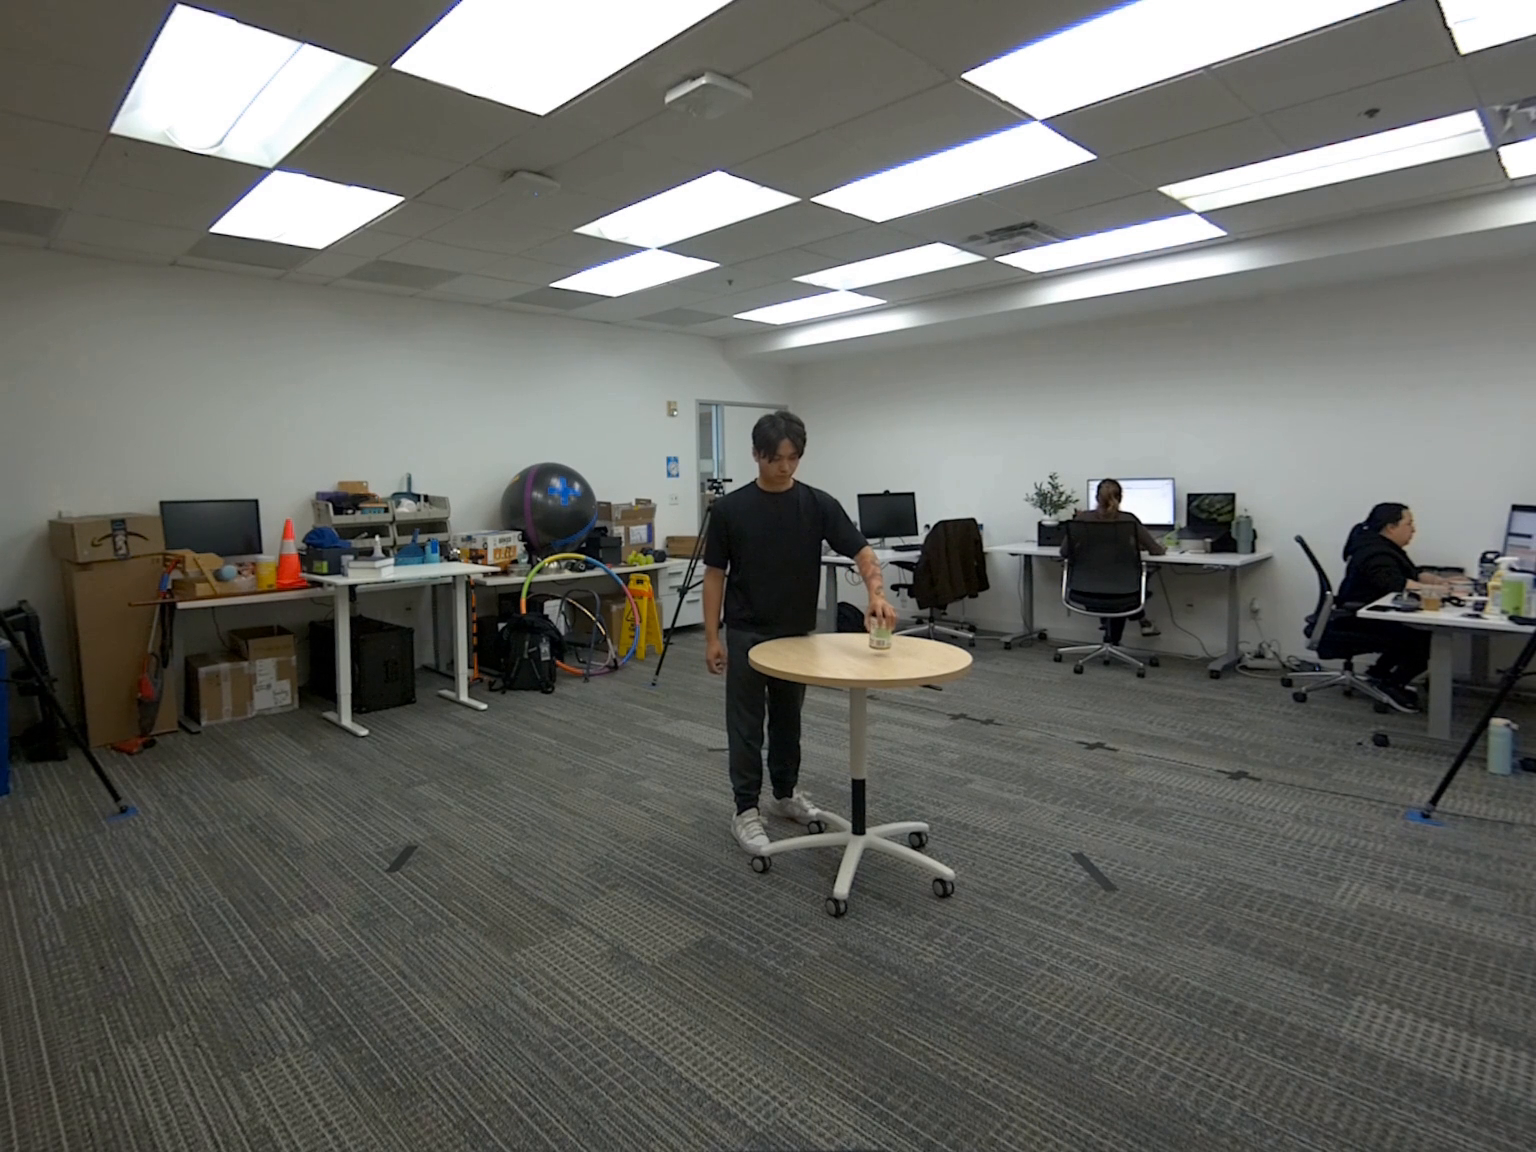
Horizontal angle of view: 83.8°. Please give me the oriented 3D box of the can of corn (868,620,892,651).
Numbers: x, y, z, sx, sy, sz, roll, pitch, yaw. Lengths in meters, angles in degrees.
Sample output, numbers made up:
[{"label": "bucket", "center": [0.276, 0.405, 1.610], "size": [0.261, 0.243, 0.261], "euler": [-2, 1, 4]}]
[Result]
[{"label": "can of corn", "center": [0.389, 0.192, 2.936], "size": [0.074, 0.110, 0.074], "euler": [0, 5, -2]}]
